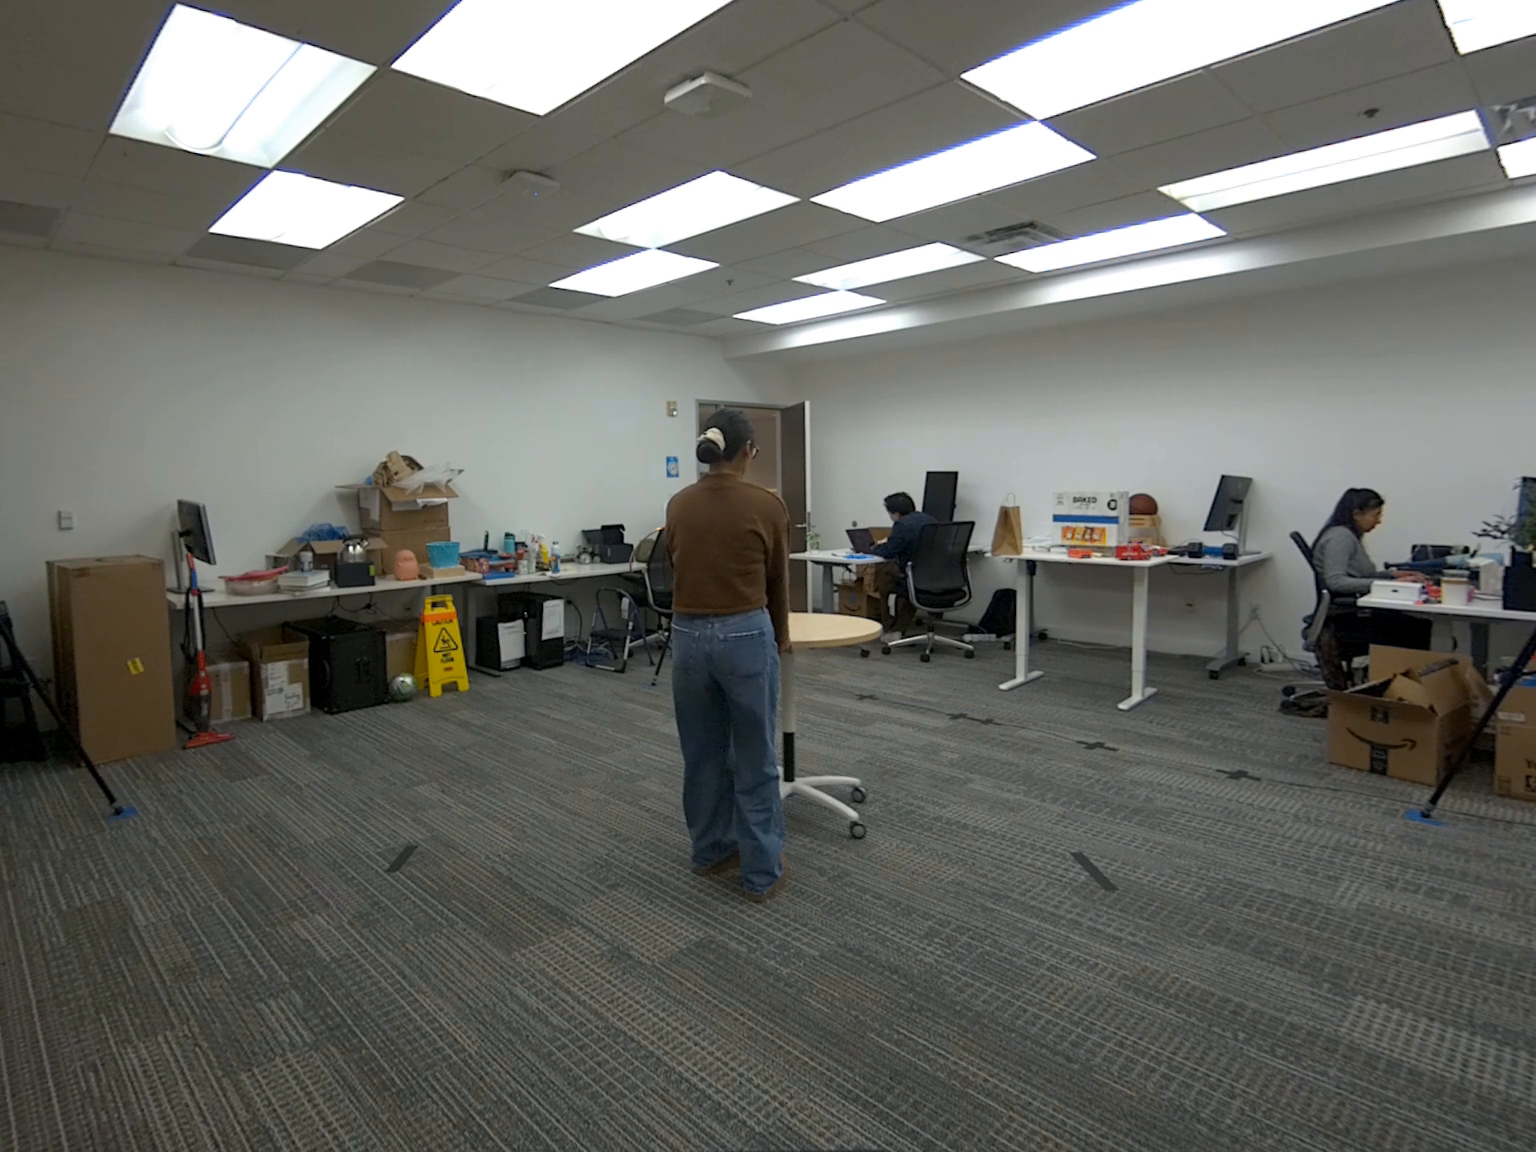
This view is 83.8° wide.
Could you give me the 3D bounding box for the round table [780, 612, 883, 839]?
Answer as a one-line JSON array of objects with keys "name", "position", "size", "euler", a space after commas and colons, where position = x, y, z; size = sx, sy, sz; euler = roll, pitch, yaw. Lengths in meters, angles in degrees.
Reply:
[{"name": "round table", "position": [0.095, 0.600, 3.505], "size": [0.784, 0.784, 0.788], "euler": [-2, 4, -2]}]
